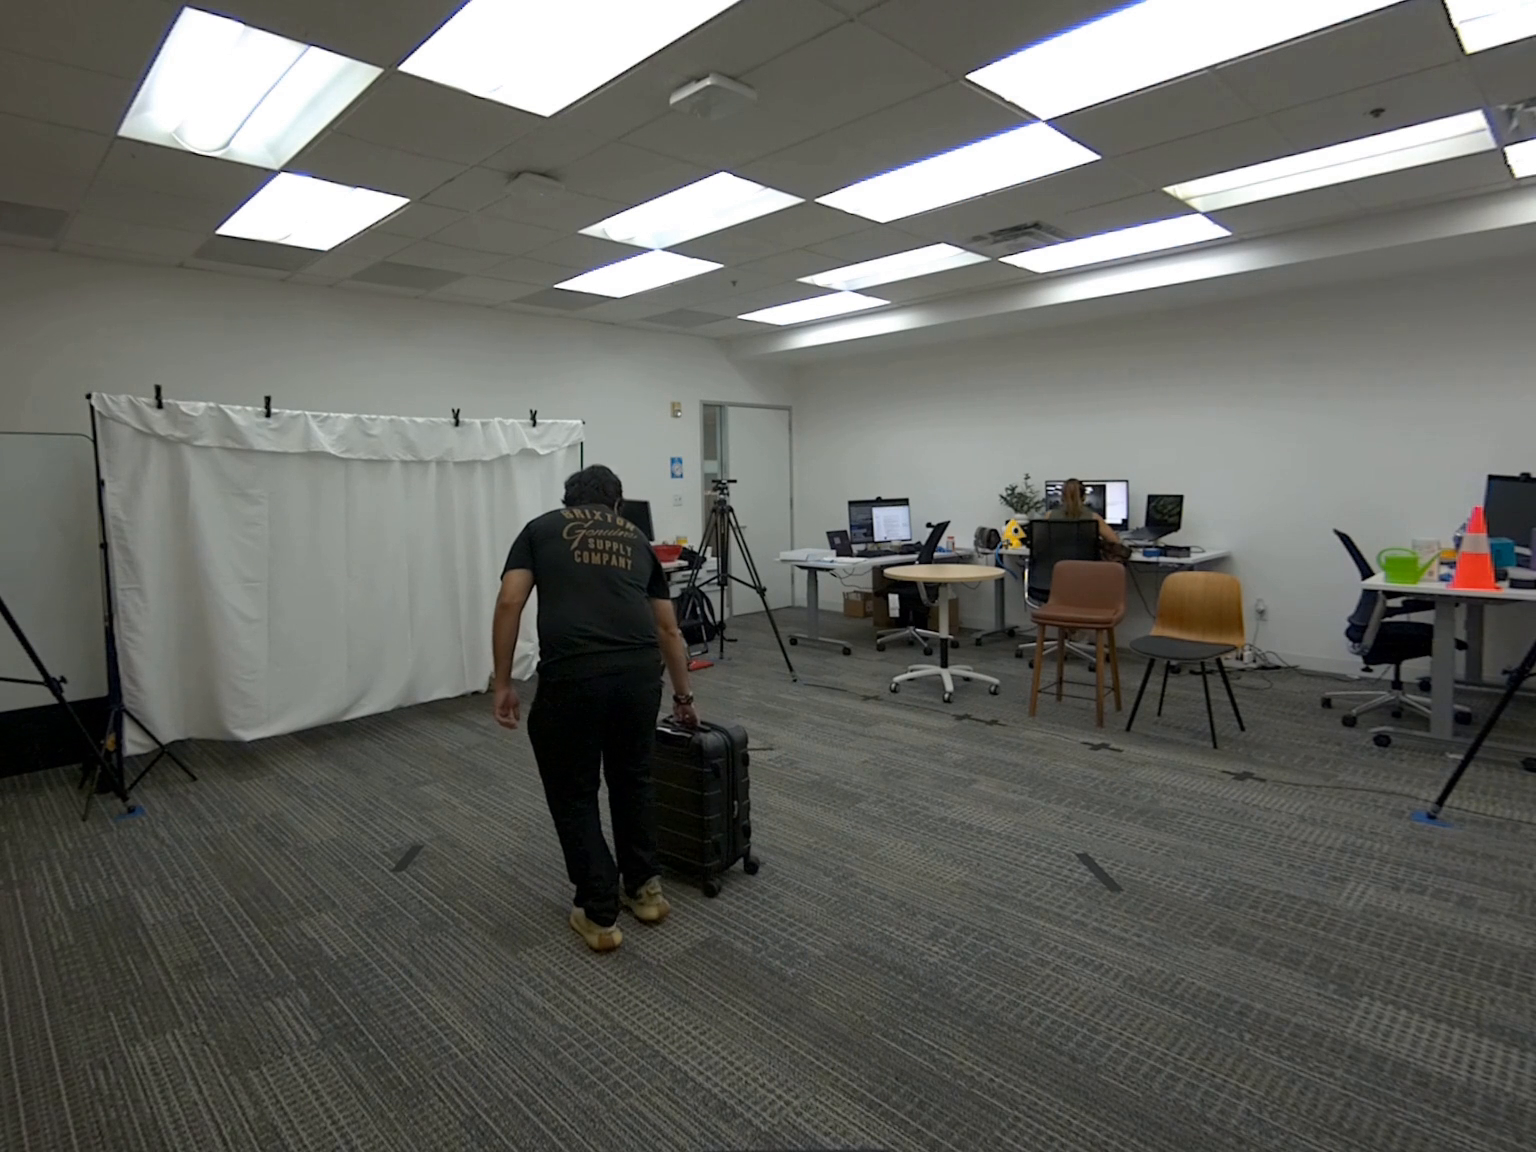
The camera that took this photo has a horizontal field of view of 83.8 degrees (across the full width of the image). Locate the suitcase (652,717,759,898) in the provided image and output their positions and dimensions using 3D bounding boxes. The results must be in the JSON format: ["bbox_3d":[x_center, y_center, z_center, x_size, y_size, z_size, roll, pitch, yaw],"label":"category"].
[{"bbox_3d":[-0.247,0.789,3.051,0.386,0.548,0.241,2,3,40],"label":"suitcase"}]
